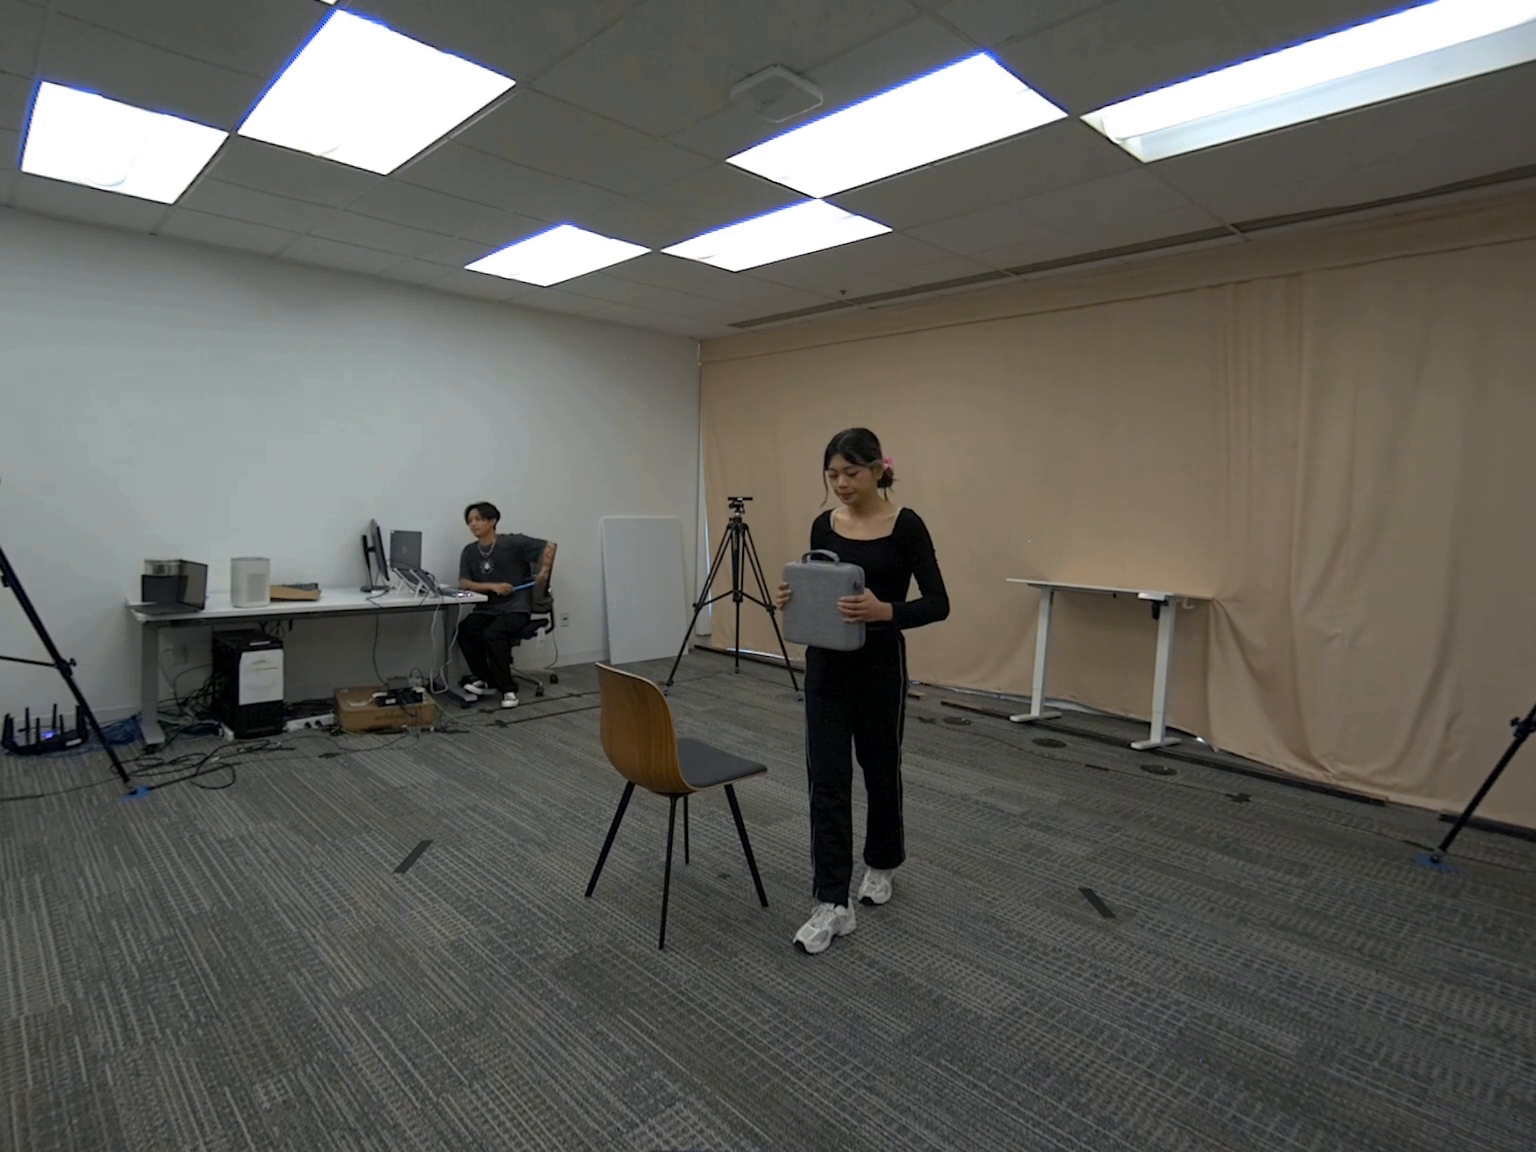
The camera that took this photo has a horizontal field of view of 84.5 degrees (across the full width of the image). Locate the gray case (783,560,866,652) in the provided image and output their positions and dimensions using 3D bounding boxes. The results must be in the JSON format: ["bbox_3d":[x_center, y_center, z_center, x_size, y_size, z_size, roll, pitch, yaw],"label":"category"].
[{"bbox_3d":[0.164,0.085,2.537,0.263,0.259,0.102,5,8,43],"label":"gray case"}]
